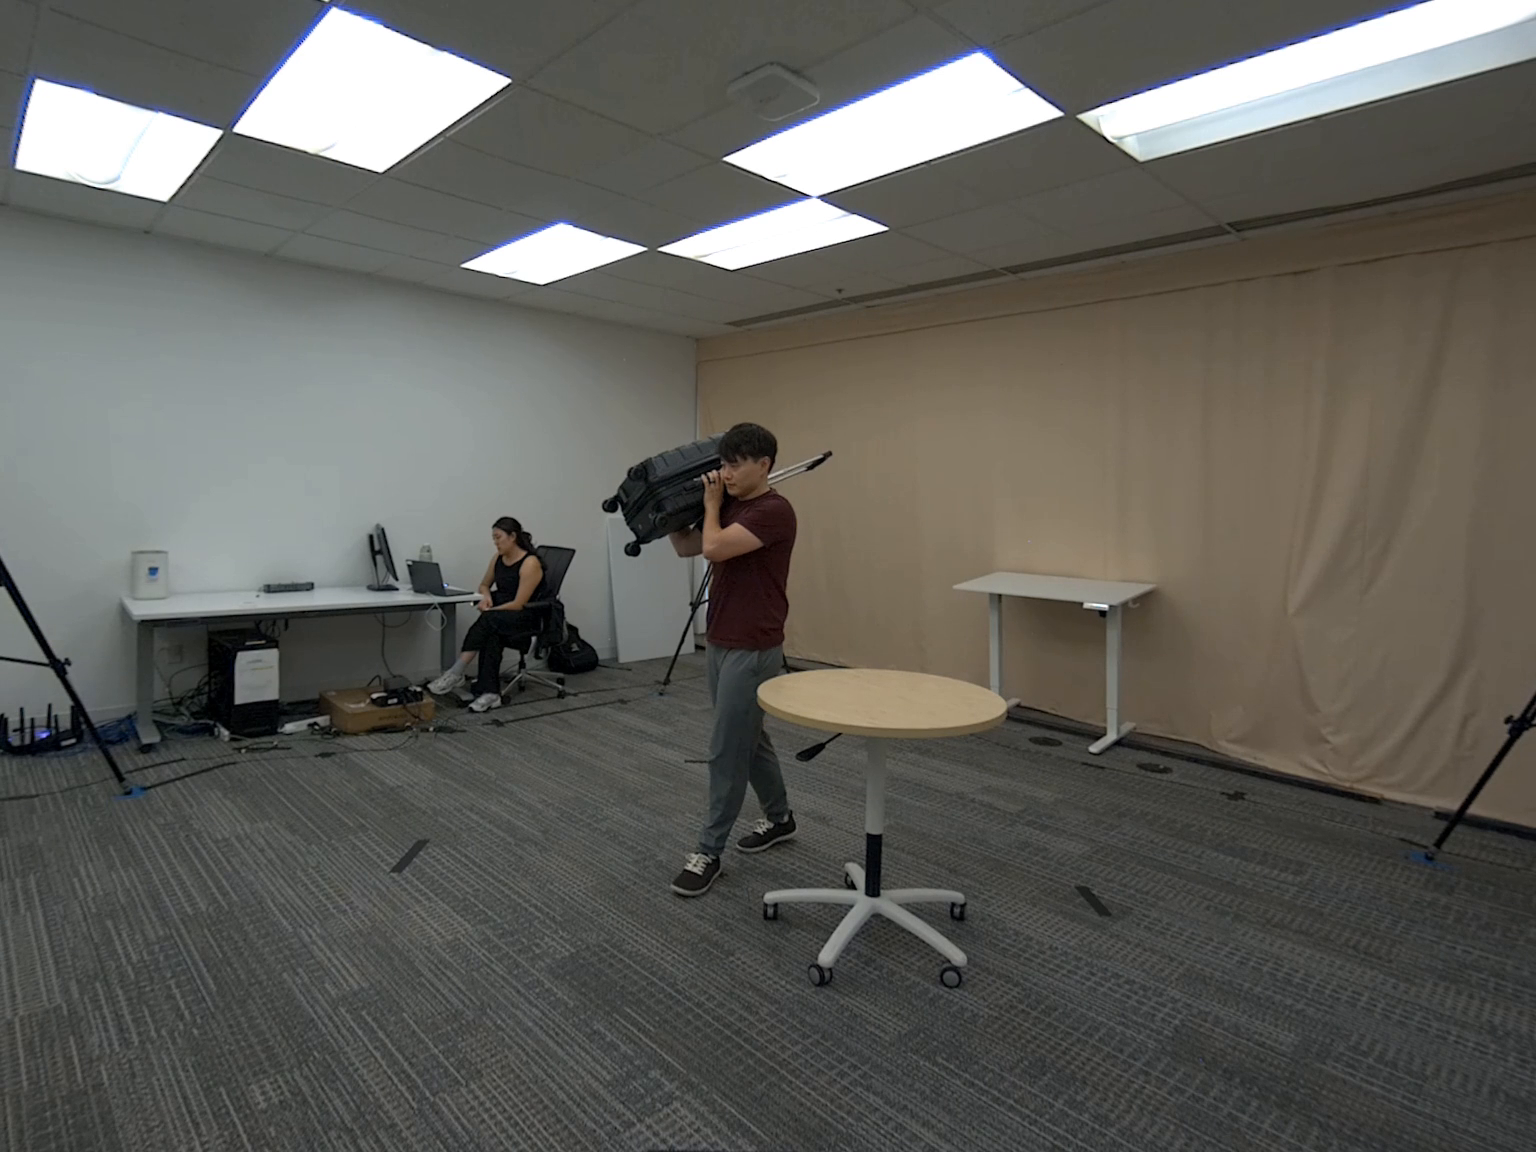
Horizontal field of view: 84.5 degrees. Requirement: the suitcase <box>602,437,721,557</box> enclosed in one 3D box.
[{"bbox_3d":[-0.183,-0.426,3.422,0.968,0.259,0.386,-27,-5,-35],"label":"suitcase"}]
